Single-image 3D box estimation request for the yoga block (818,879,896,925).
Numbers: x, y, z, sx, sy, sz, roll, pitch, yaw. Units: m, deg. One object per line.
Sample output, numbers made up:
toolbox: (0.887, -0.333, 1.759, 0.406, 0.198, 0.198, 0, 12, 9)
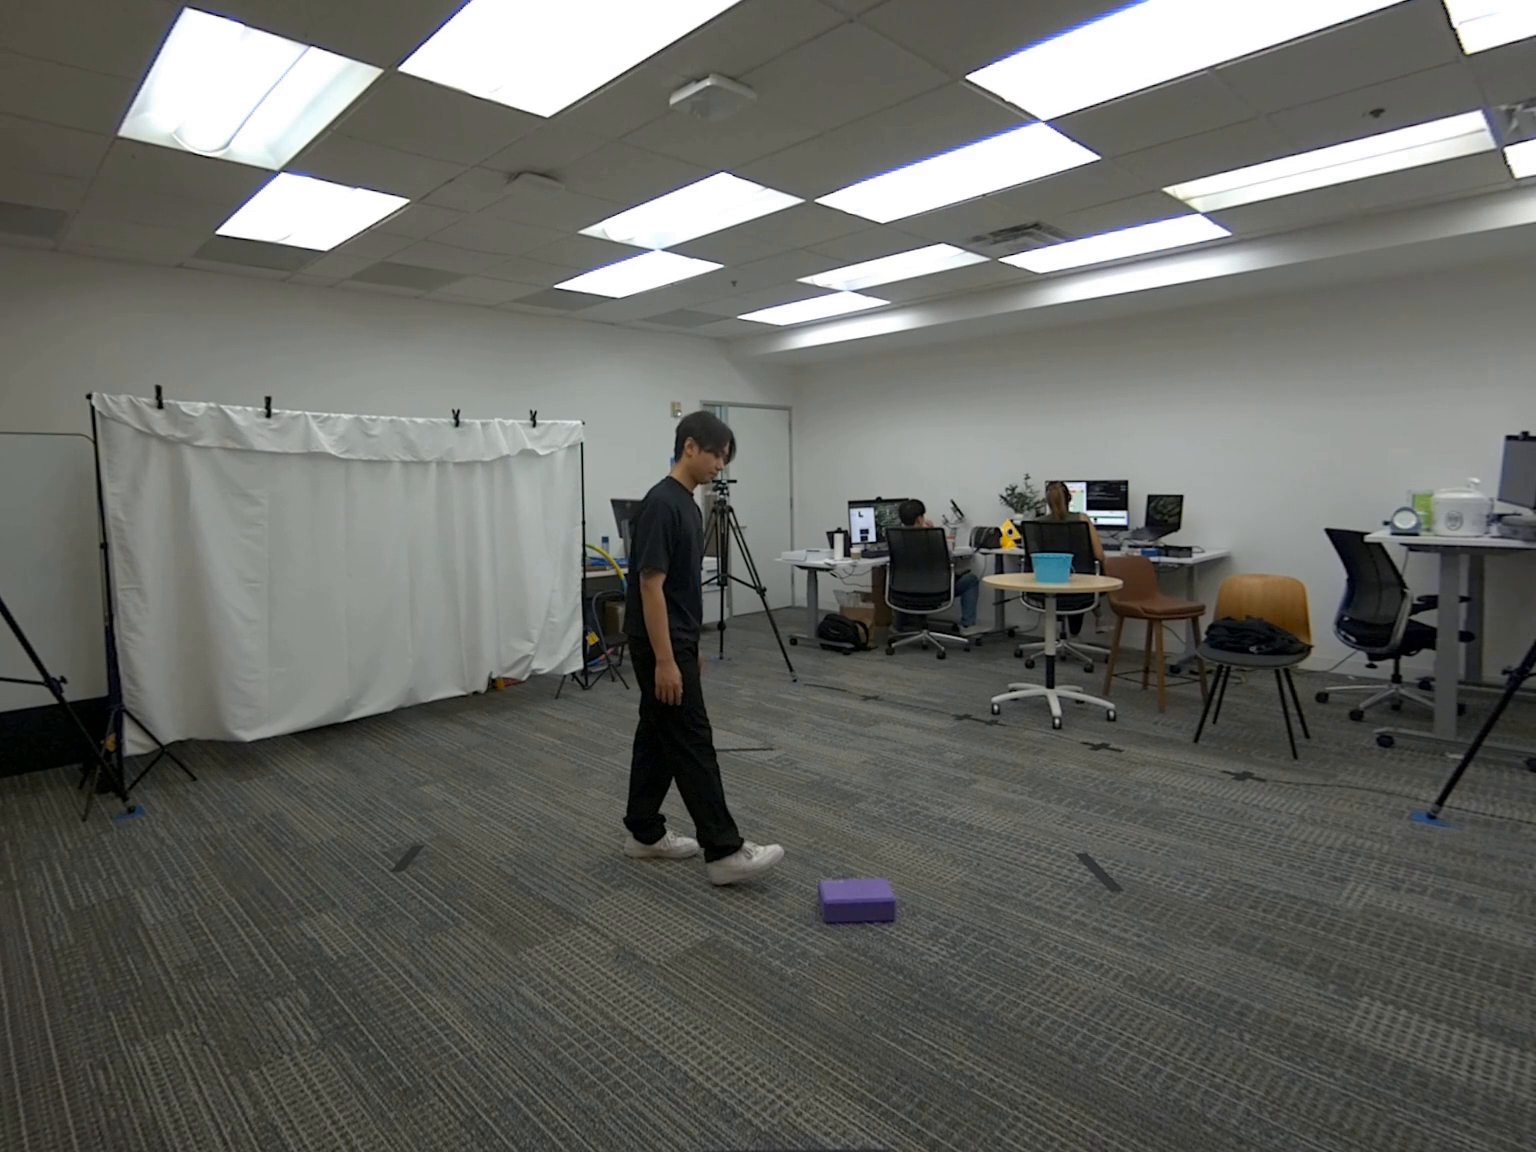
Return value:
yoga block: (0.290, 1.041, 2.746, 0.229, 0.076, 0.150, -1, 5, -2)
